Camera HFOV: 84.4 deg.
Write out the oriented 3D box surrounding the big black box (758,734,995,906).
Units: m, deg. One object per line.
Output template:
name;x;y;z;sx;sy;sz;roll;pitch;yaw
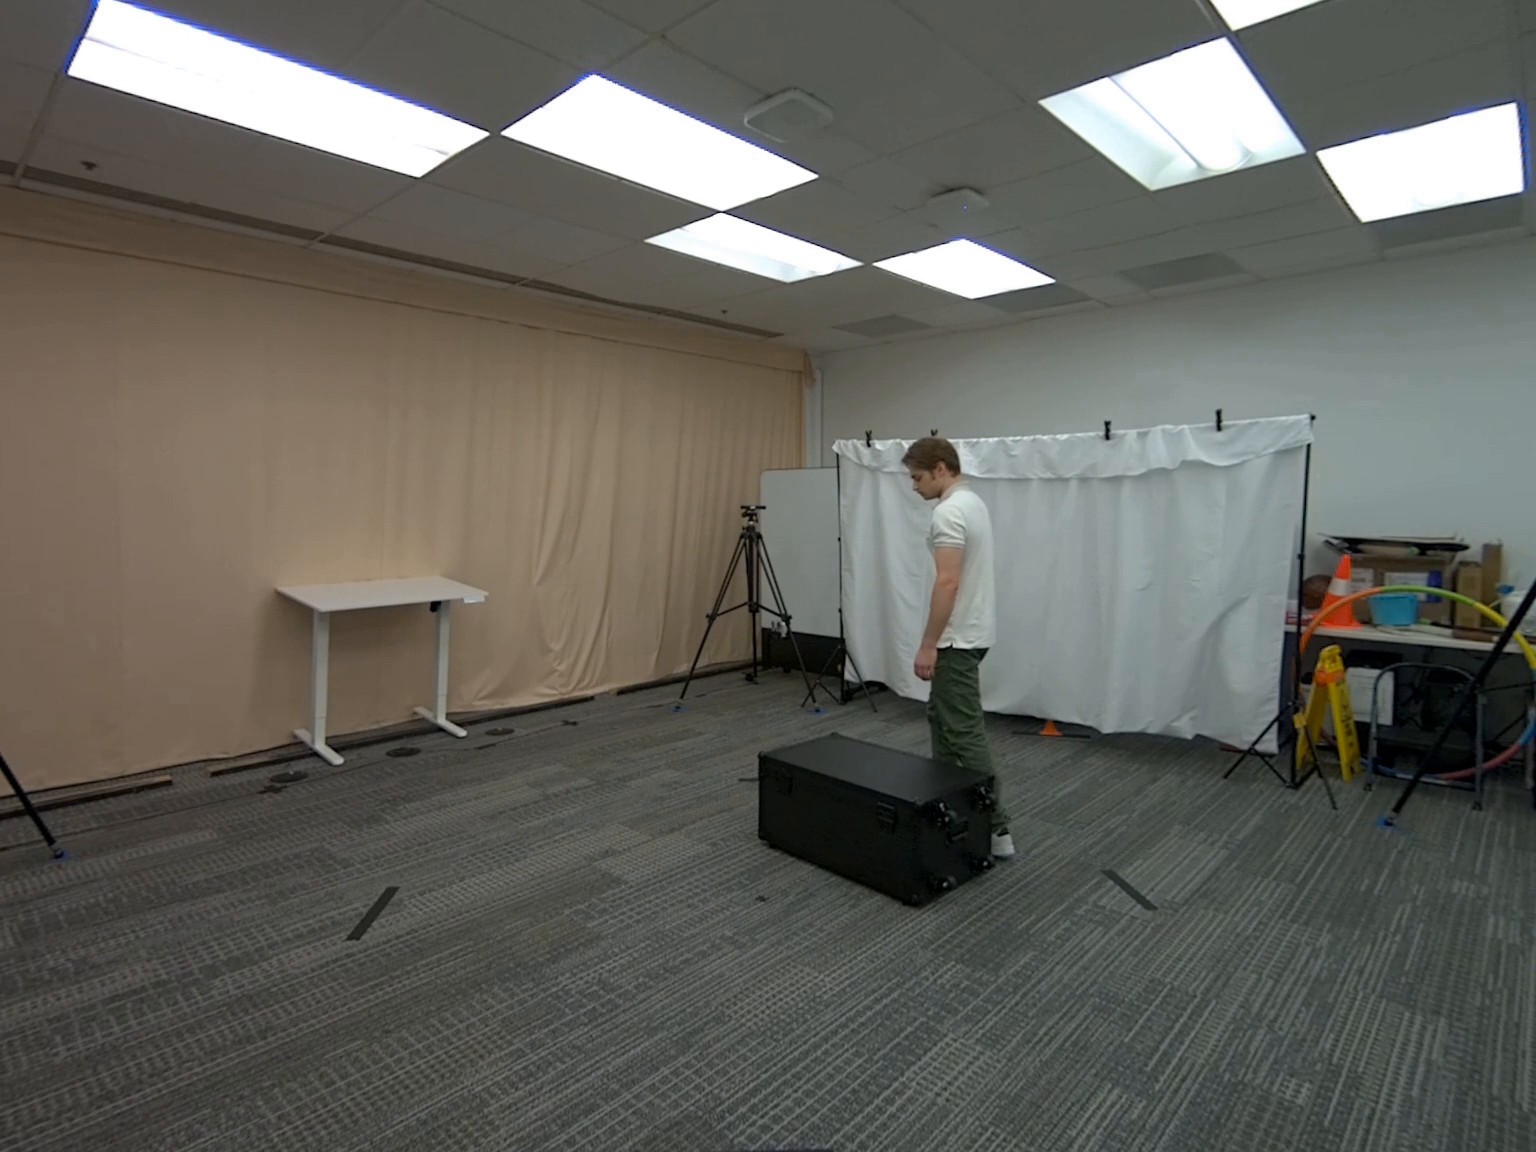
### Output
big black box;0.430;0.926;3.293;0.505;0.395;0.890;-3;5;-44
